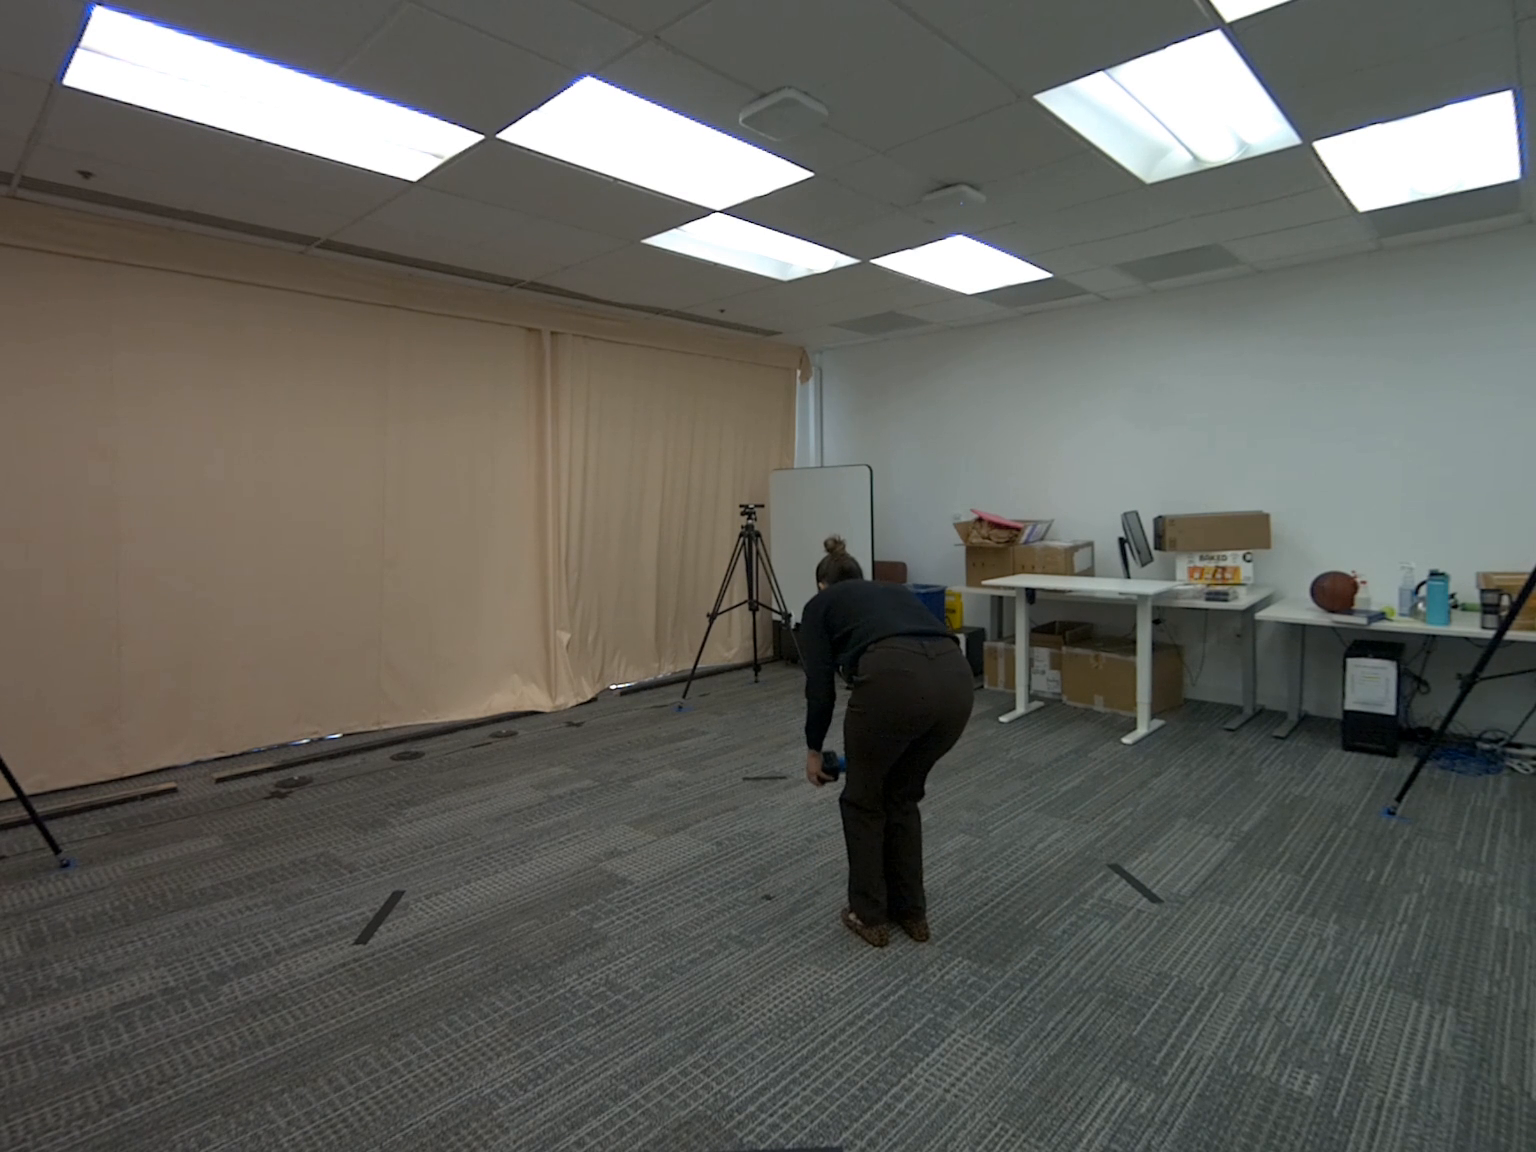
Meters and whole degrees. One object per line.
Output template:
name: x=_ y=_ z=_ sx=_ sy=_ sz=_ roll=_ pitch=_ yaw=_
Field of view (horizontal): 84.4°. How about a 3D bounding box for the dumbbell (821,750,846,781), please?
dumbbell: x=0.313 y=0.666 z=2.966 sx=0.289 sy=0.121 sz=0.111 roll=-3 pitch=21 yaw=-15
